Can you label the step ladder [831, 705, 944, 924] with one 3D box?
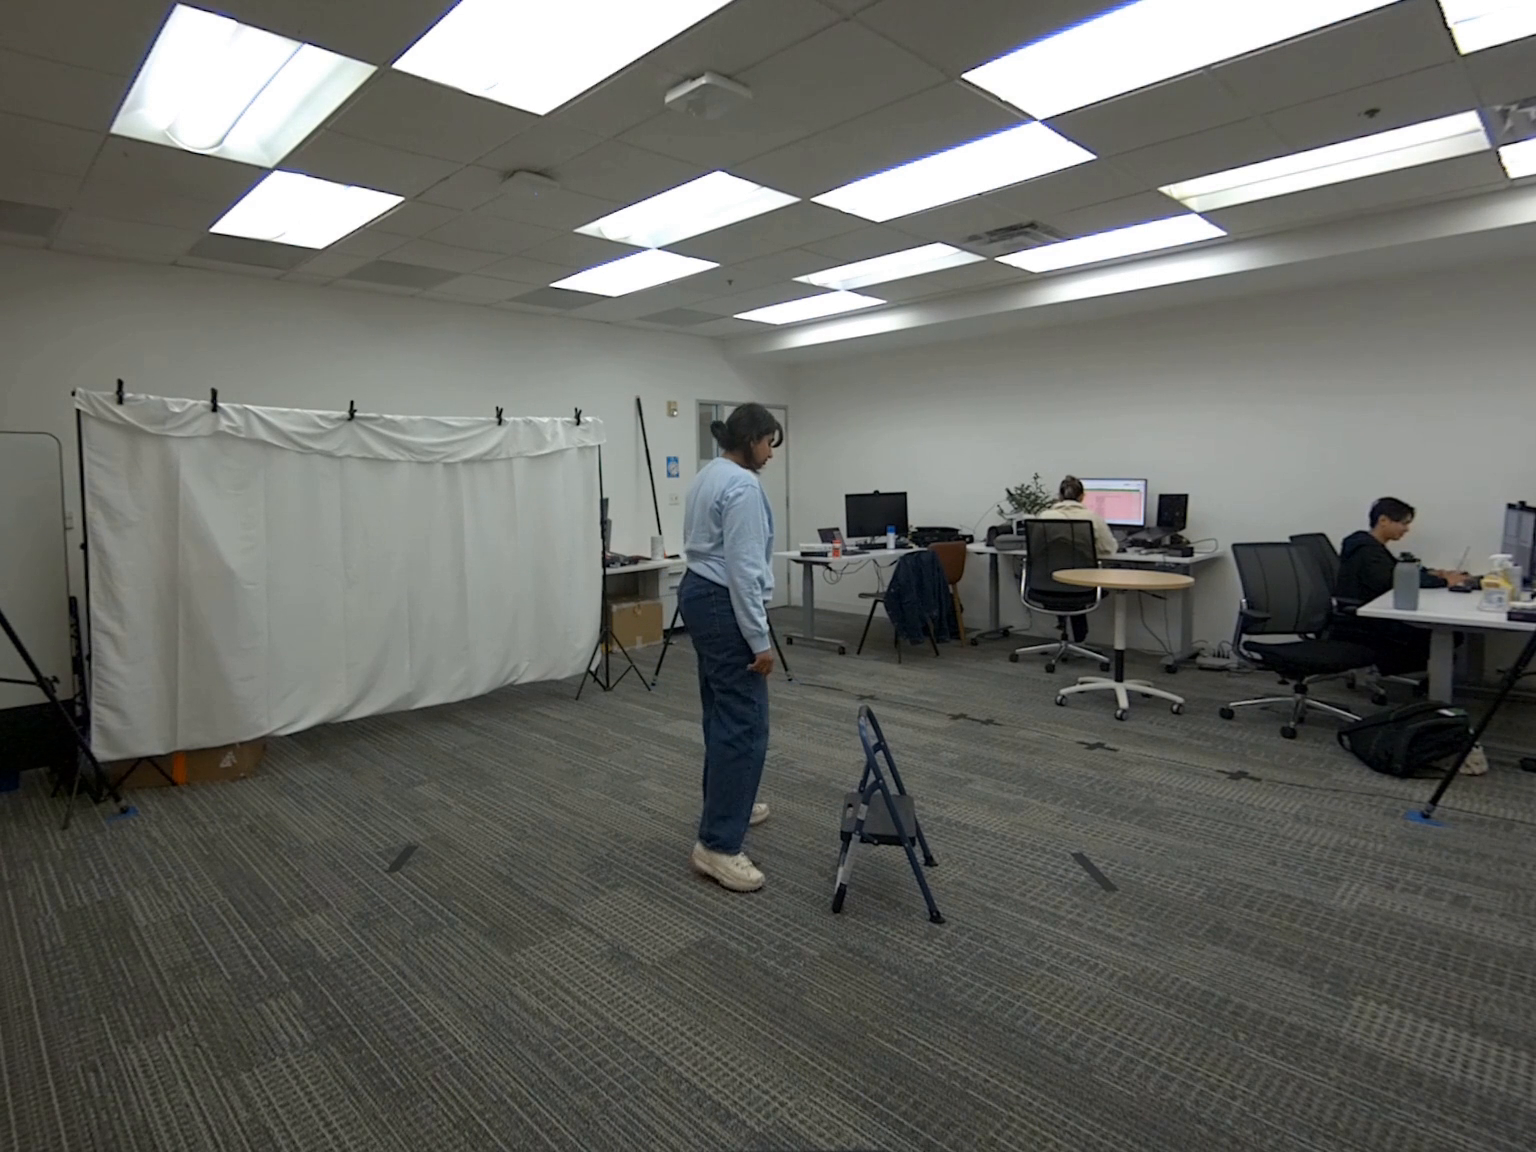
[{"bbox_3d":[0.409,0.766,2.884,0.353,0.604,0.428,1,4,10],"label":"step ladder"}]
